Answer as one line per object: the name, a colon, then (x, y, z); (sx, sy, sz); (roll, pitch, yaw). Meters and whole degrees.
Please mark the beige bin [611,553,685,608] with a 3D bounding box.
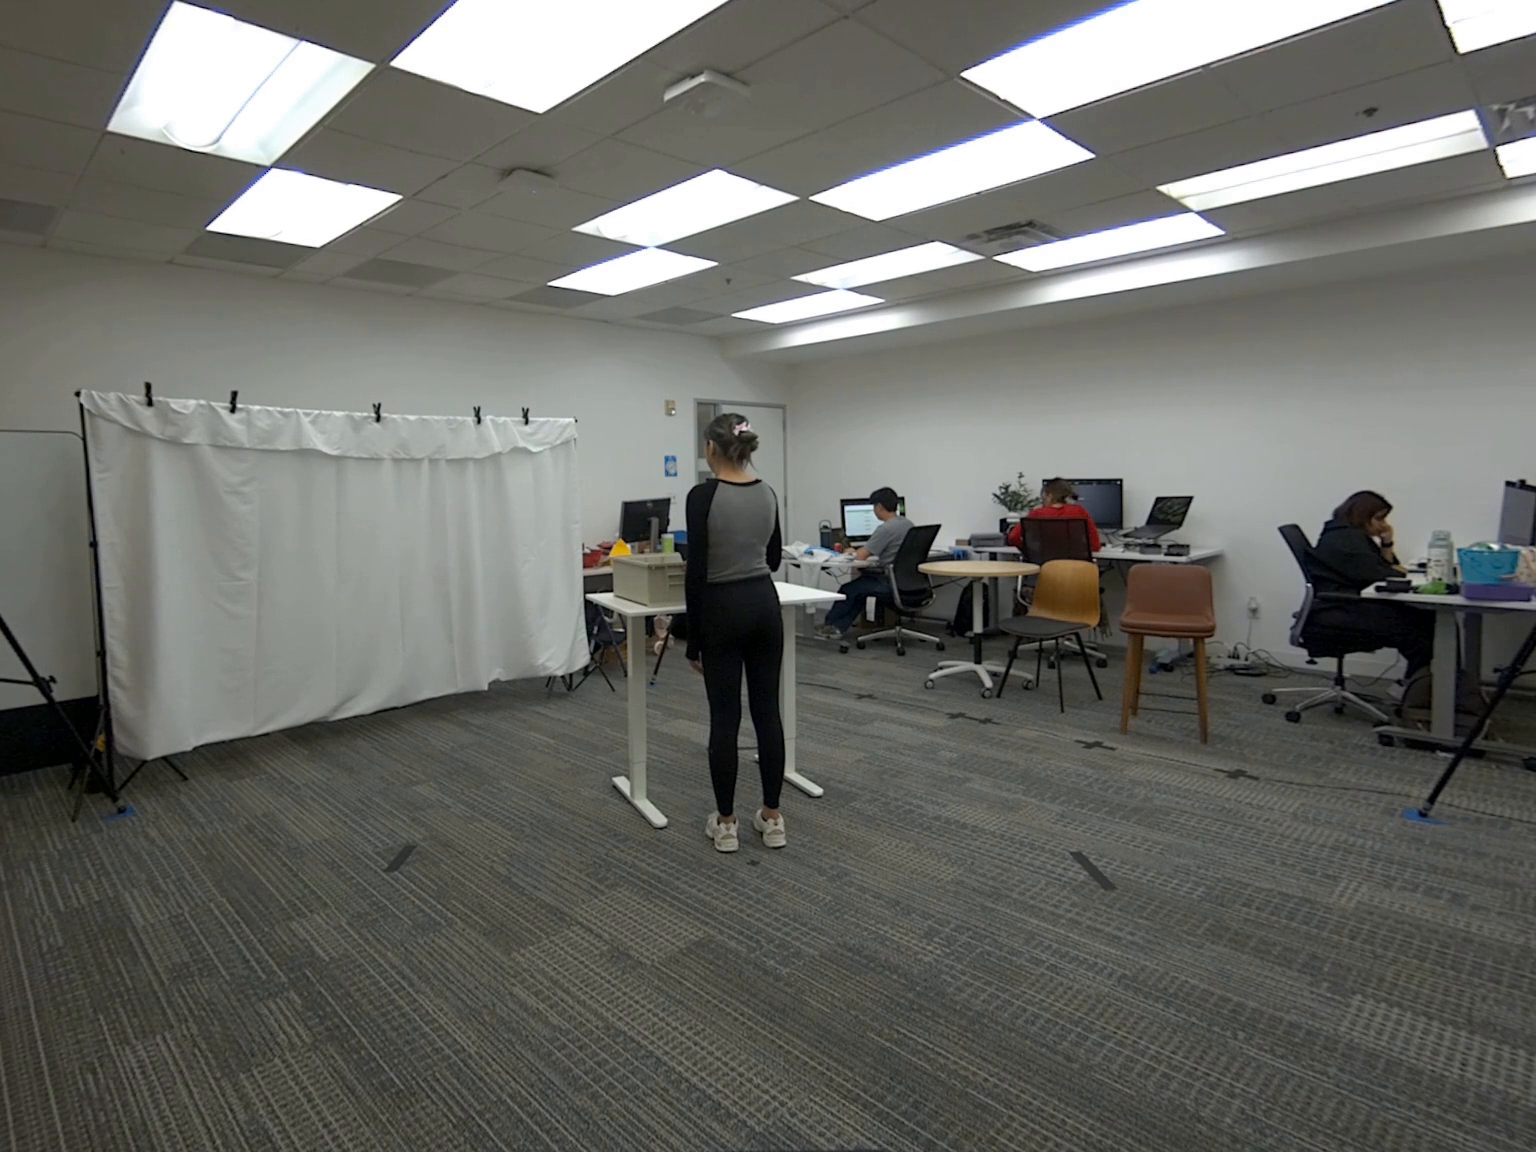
beige bin: (-0.428, 0.013, 3.677); (0.369, 0.188, 0.434); (-6, 8, -30)
